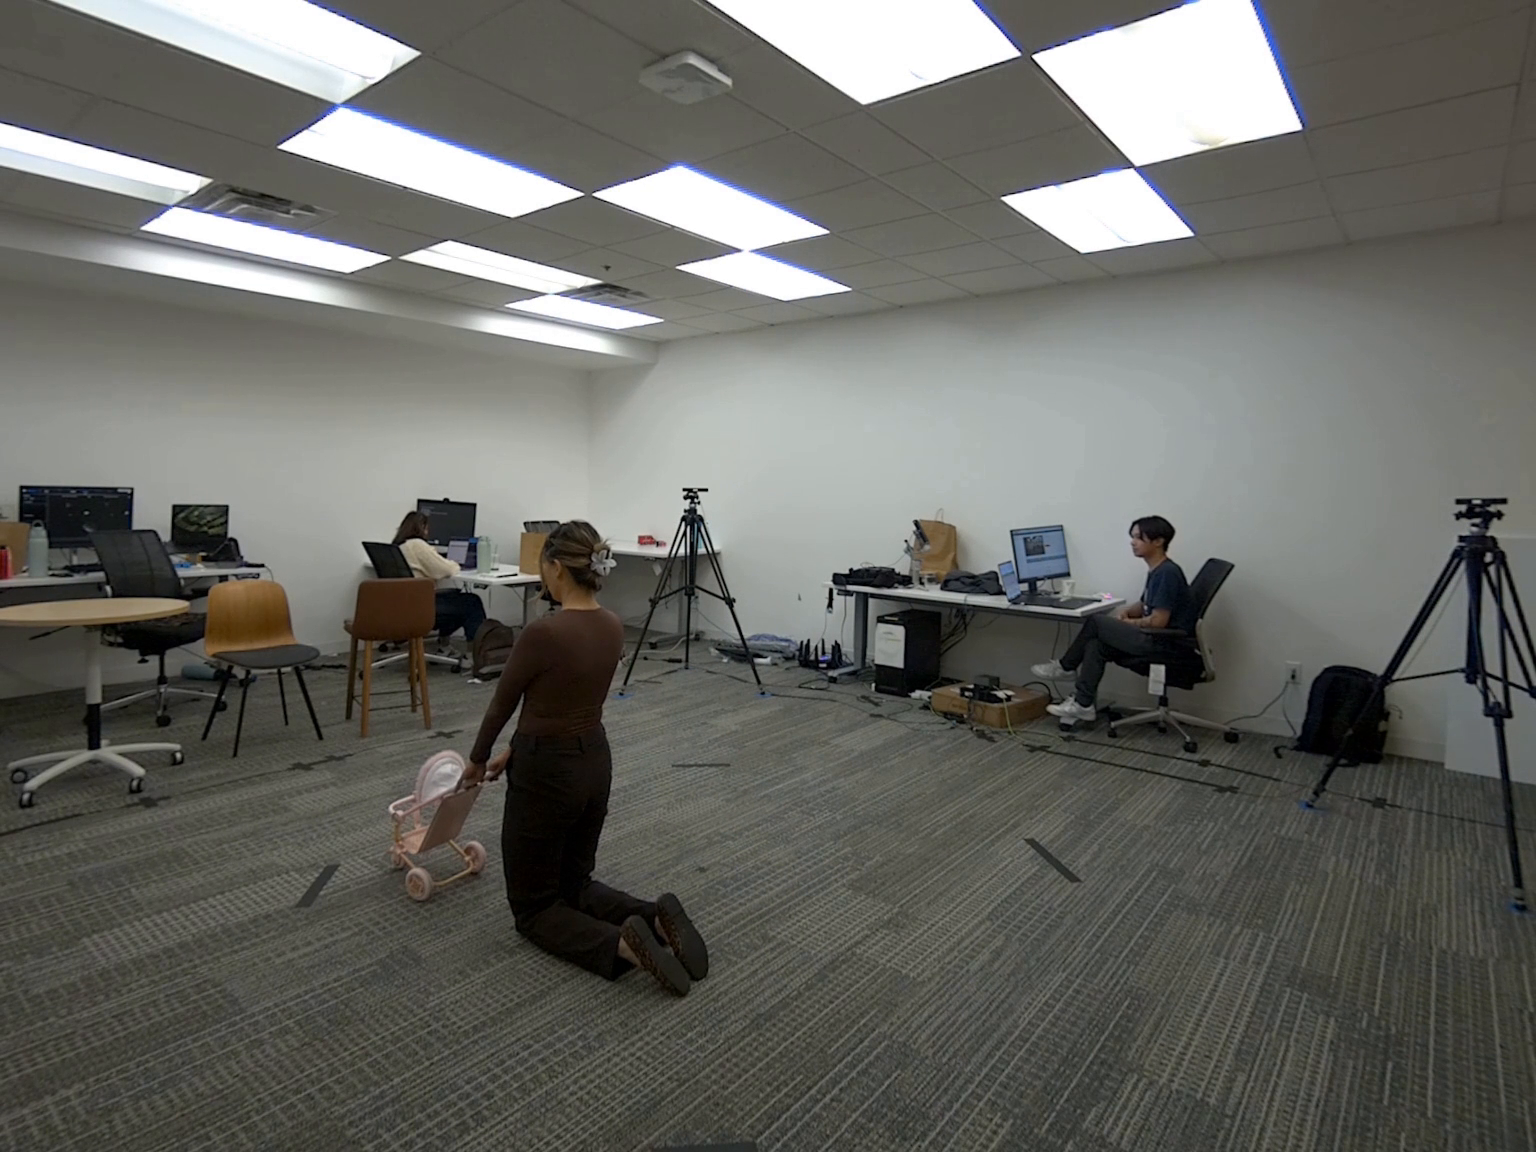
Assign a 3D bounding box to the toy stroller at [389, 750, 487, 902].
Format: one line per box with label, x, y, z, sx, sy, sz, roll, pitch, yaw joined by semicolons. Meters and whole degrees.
toy stroller;-1.170;0.844;2.969;0.354;0.531;0.273;24;14;30
